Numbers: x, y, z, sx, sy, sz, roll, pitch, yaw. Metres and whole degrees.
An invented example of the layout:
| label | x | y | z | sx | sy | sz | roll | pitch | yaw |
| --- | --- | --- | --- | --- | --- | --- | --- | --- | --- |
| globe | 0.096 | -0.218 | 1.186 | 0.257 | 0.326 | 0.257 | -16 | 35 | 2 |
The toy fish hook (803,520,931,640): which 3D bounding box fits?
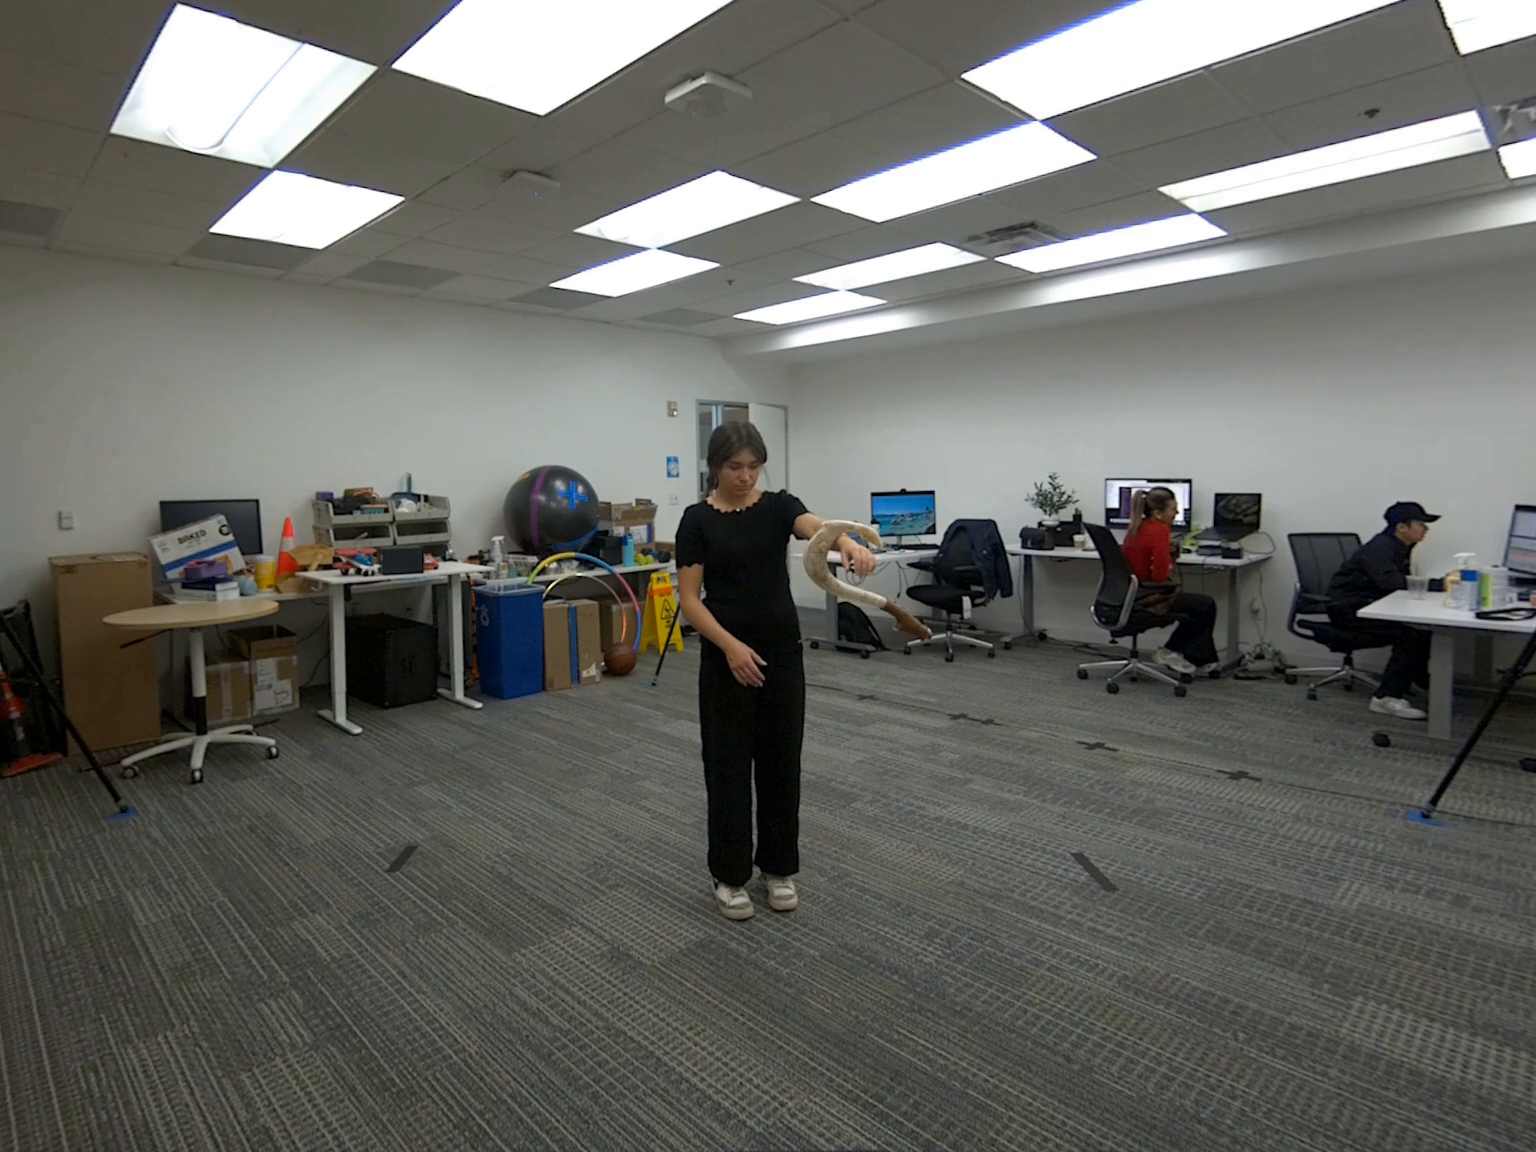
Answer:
| label | x | y | z | sx | sy | sz | roll | pitch | yaw |
| --- | --- | --- | --- | --- | --- | --- | --- | --- | --- |
| toy fish hook | 0.314 | 0.026 | 2.494 | 0.495 | 0.224 | 0.049 | 33 | 13 | -17 |
